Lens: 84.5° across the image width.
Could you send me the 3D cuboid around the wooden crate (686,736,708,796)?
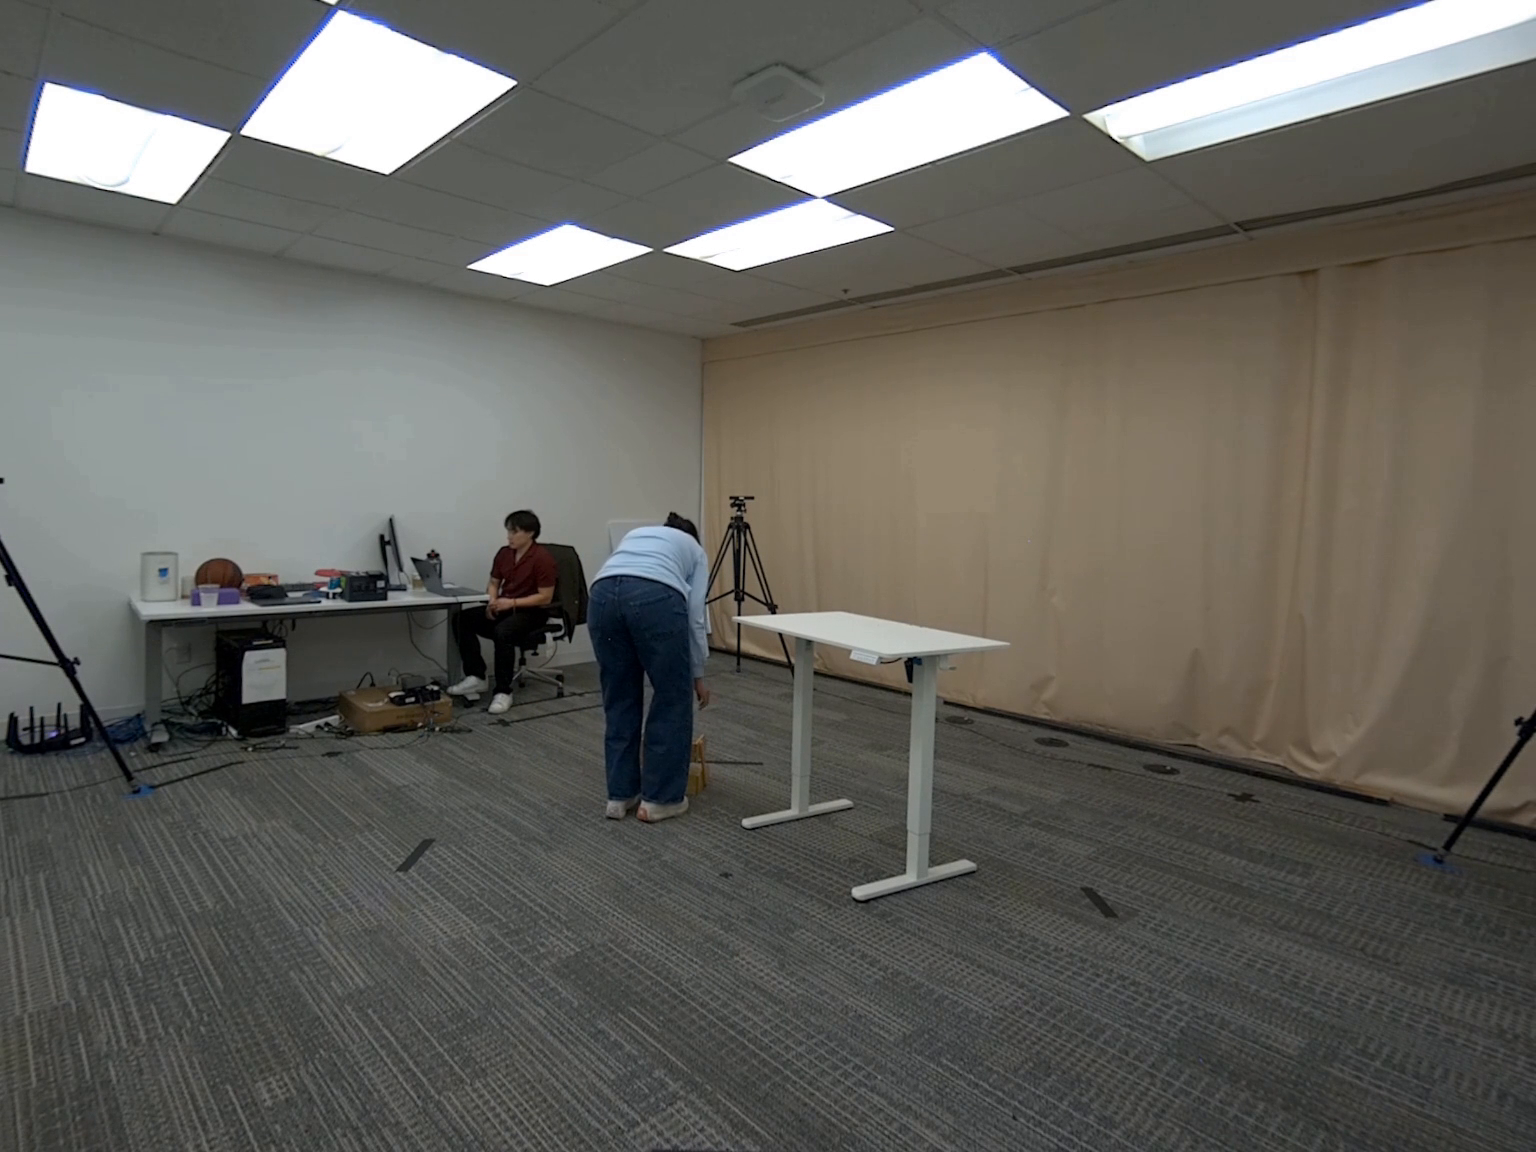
[{"bbox_3d":[-0.471,0.884,4.075,0.327,0.272,0.300,2,5,10],"label":"wooden crate"}]
